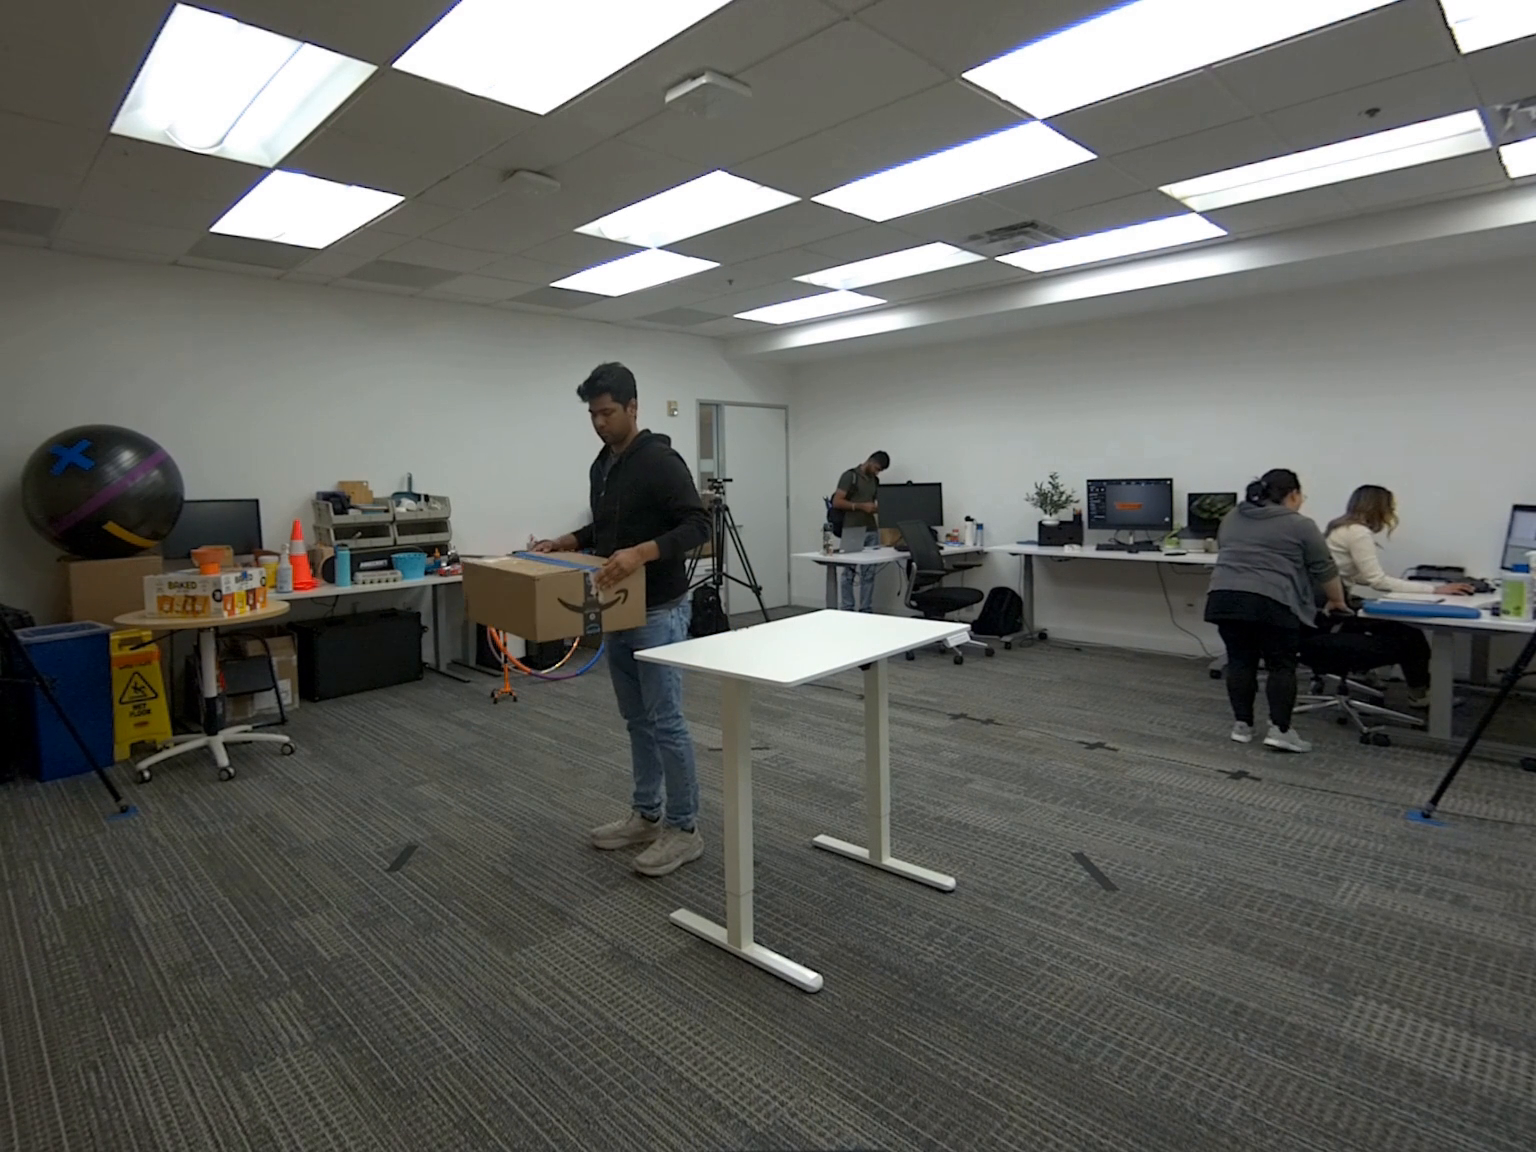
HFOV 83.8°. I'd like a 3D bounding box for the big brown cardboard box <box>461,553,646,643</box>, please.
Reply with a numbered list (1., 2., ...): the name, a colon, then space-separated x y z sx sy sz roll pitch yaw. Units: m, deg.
1. big brown cardboard box: -0.757 0.058 3.009 0.407 0.231 0.608 -7 11 -41
